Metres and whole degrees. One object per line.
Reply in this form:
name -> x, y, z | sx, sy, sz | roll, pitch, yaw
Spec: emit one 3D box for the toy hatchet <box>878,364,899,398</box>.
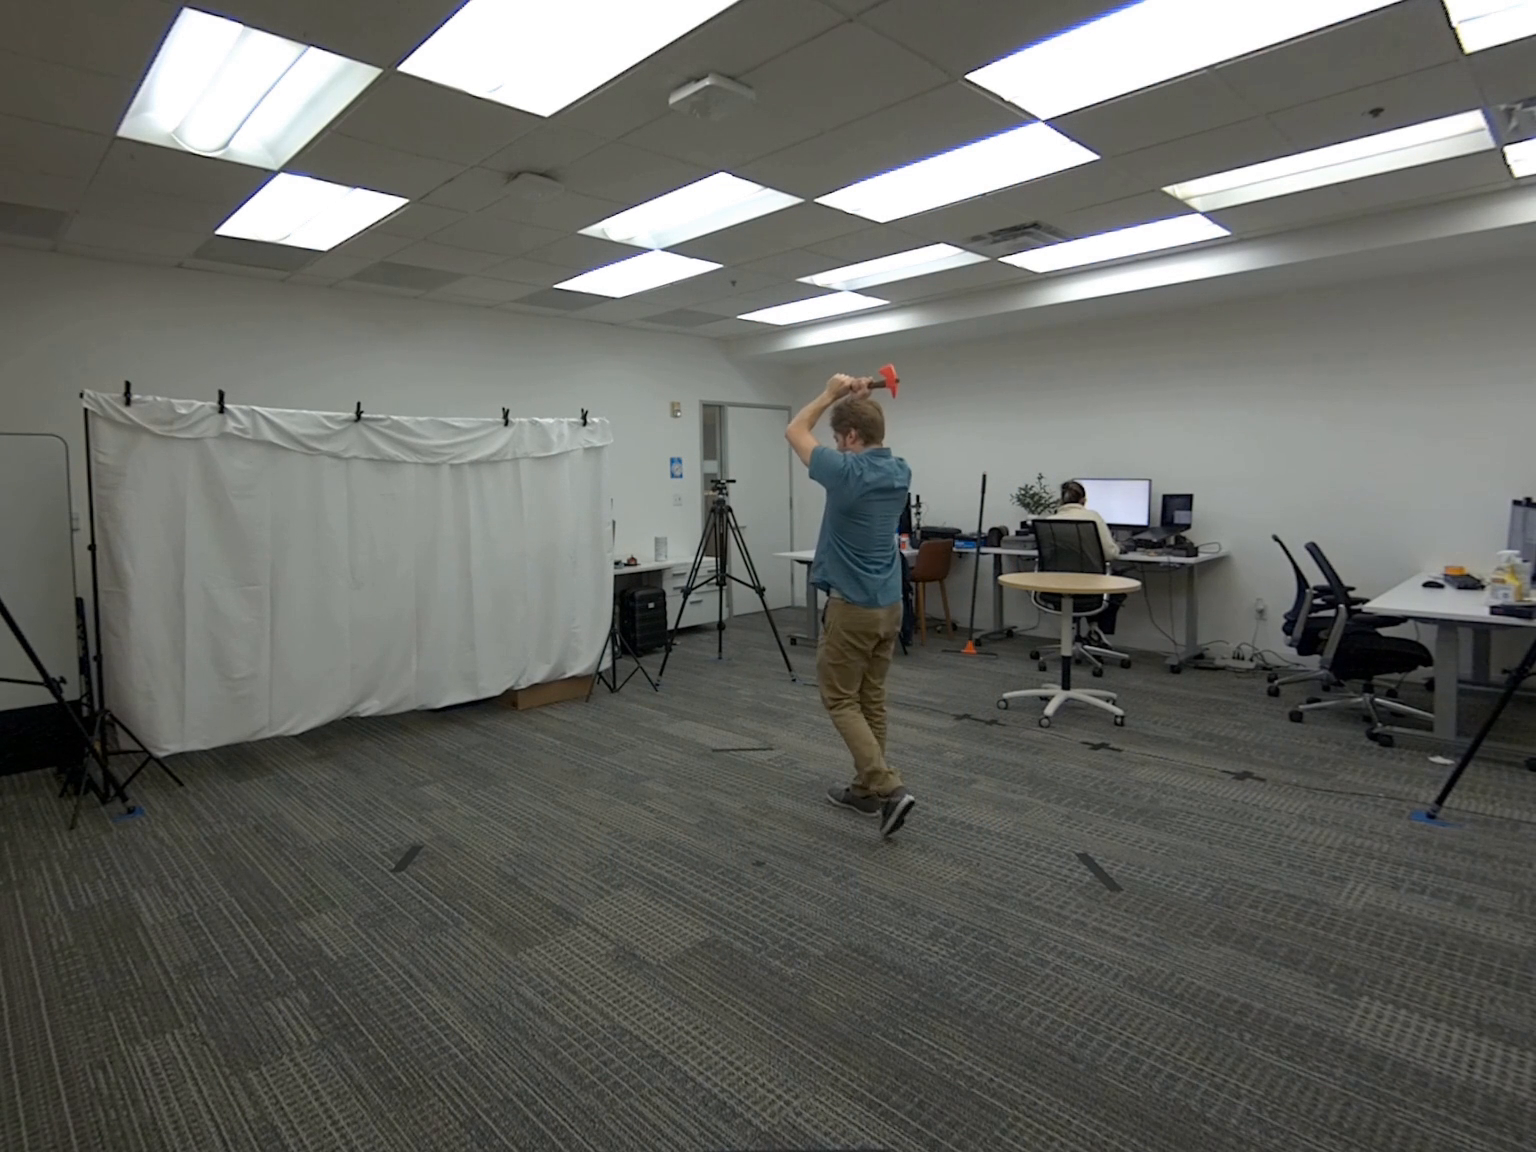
toy hatchet -> 0.411, -0.814, 3.483 | 0.278, 0.129, 0.029 | 19, 22, 28
